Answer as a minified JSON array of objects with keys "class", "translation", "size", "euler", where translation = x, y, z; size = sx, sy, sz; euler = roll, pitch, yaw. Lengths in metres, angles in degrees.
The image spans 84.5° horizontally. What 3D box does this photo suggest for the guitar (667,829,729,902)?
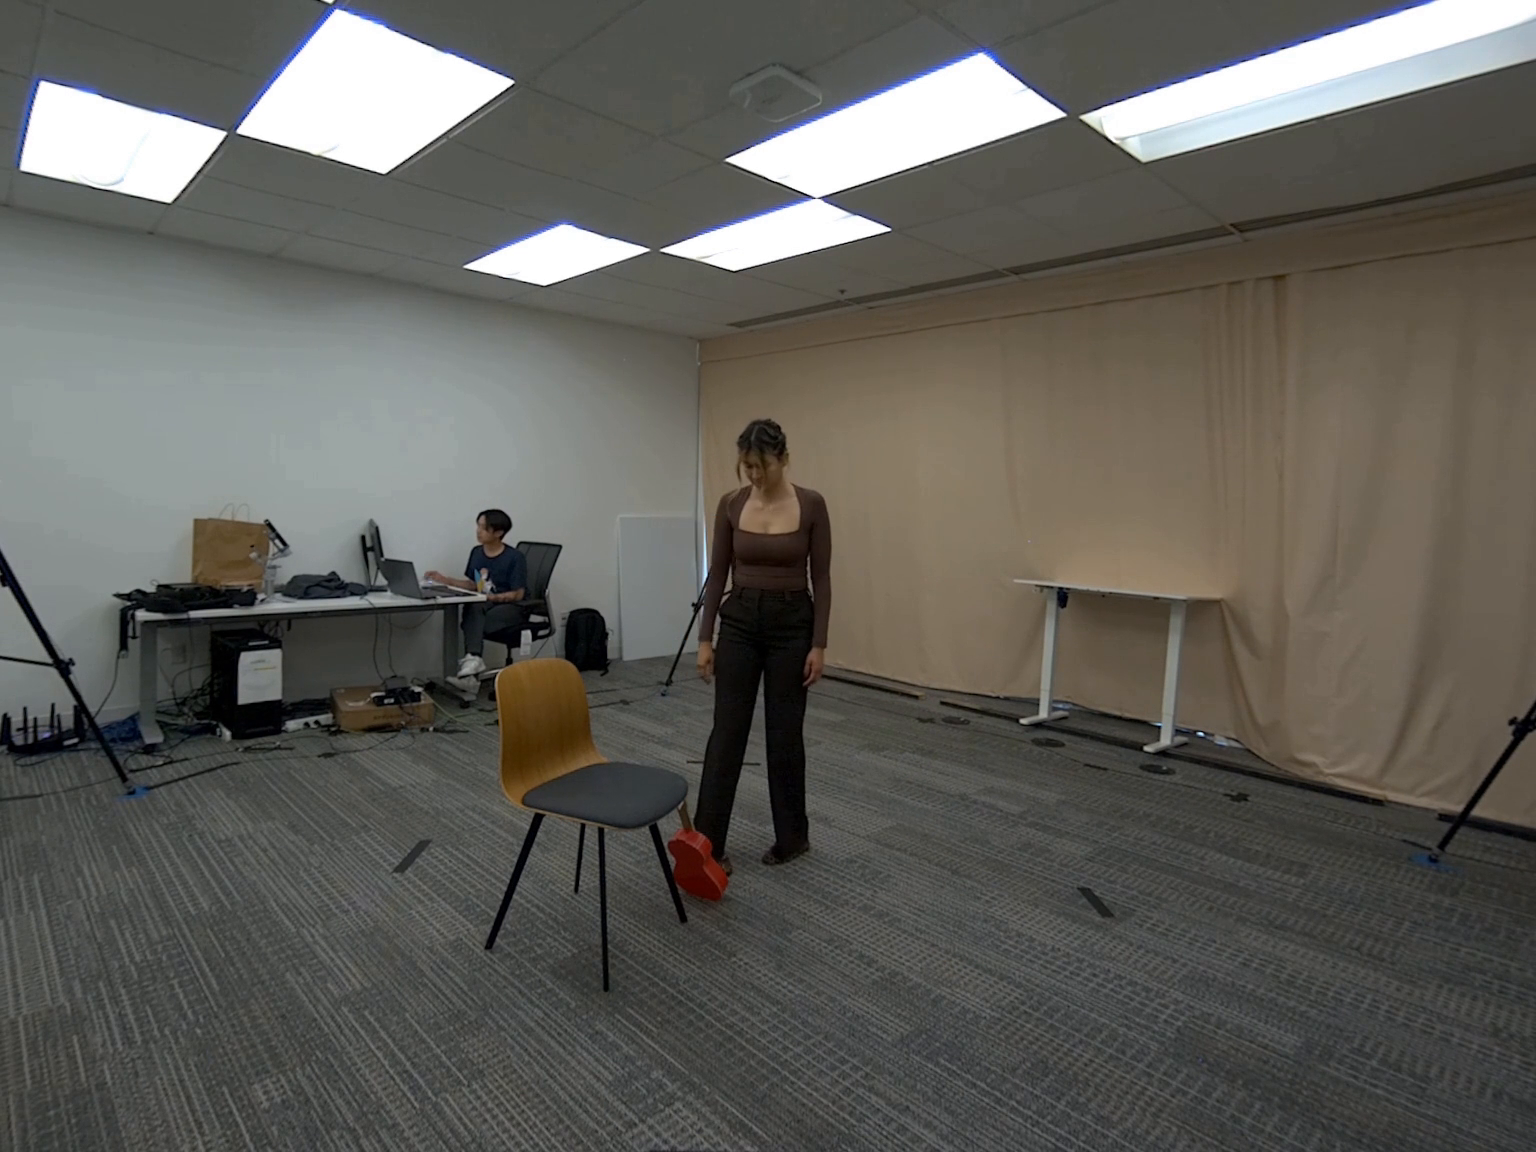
[{"class":"guitar","translation":[-0.296,0.896,2.868],"size":[0.197,0.489,0.070],"euler":[-5,24,34]}]
